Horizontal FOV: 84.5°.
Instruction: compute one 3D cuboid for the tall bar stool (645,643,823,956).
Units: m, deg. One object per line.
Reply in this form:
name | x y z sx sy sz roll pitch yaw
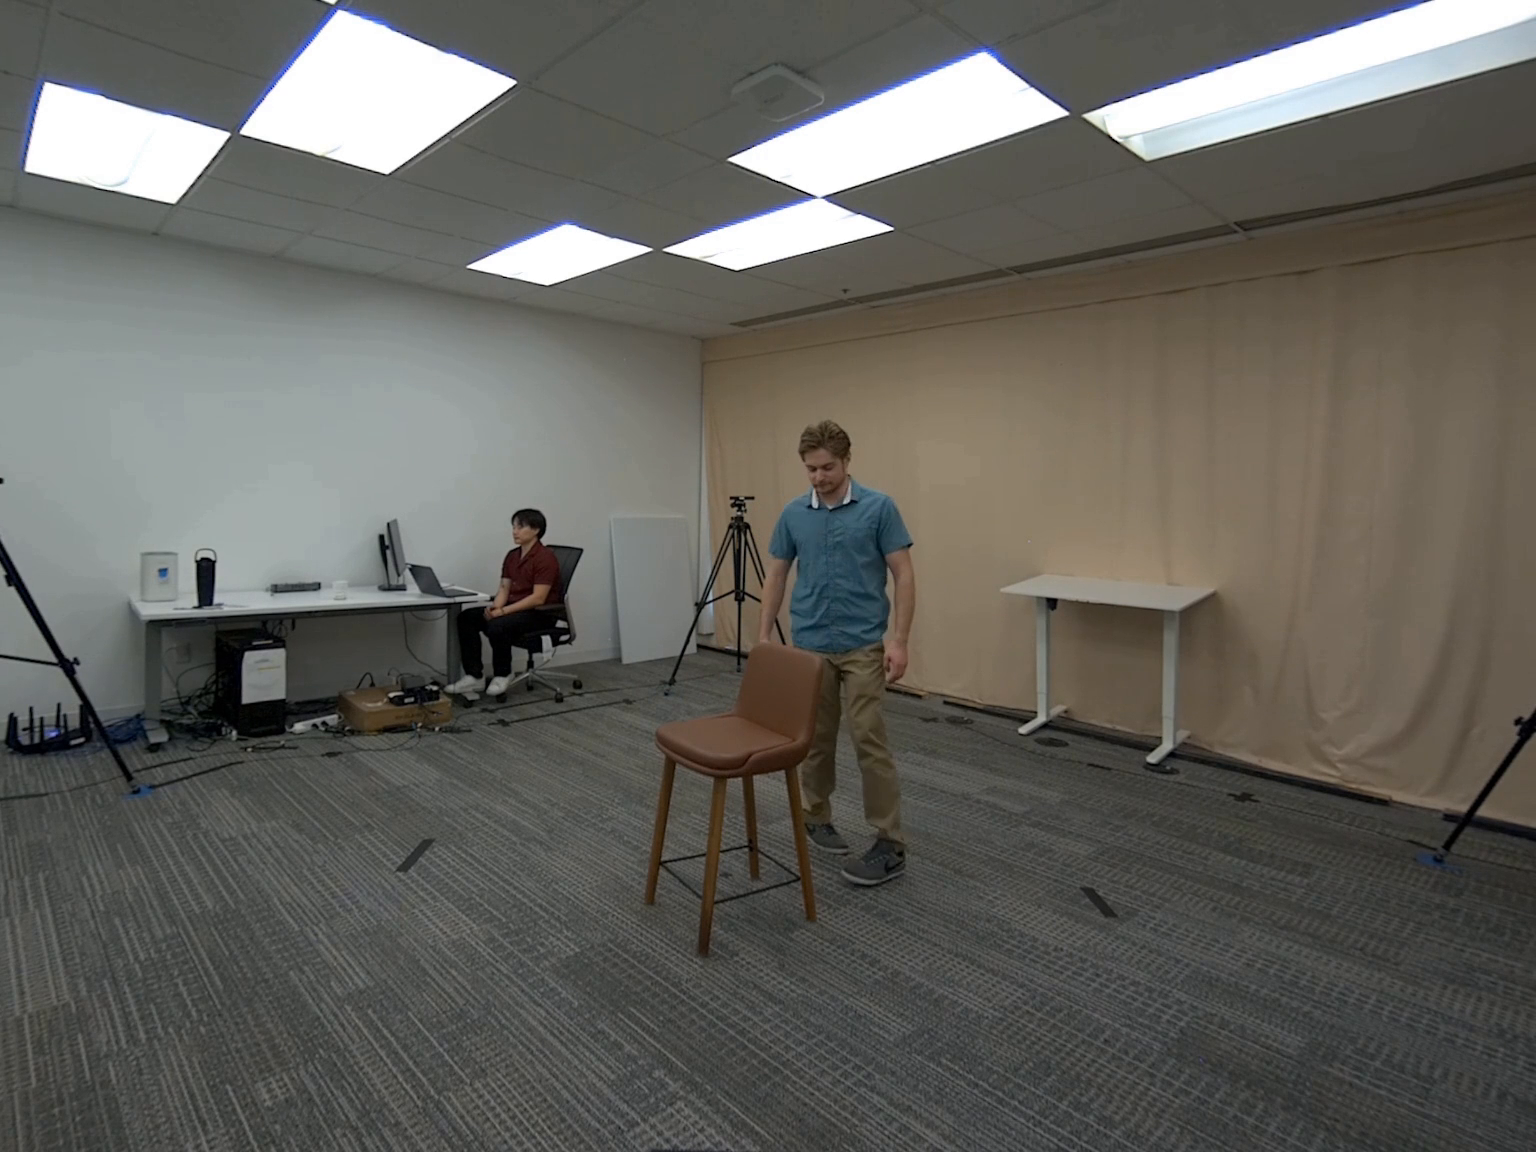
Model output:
tall bar stool | -0.119 0.698 2.804 0.457 0.888 0.467 1 3 -33
